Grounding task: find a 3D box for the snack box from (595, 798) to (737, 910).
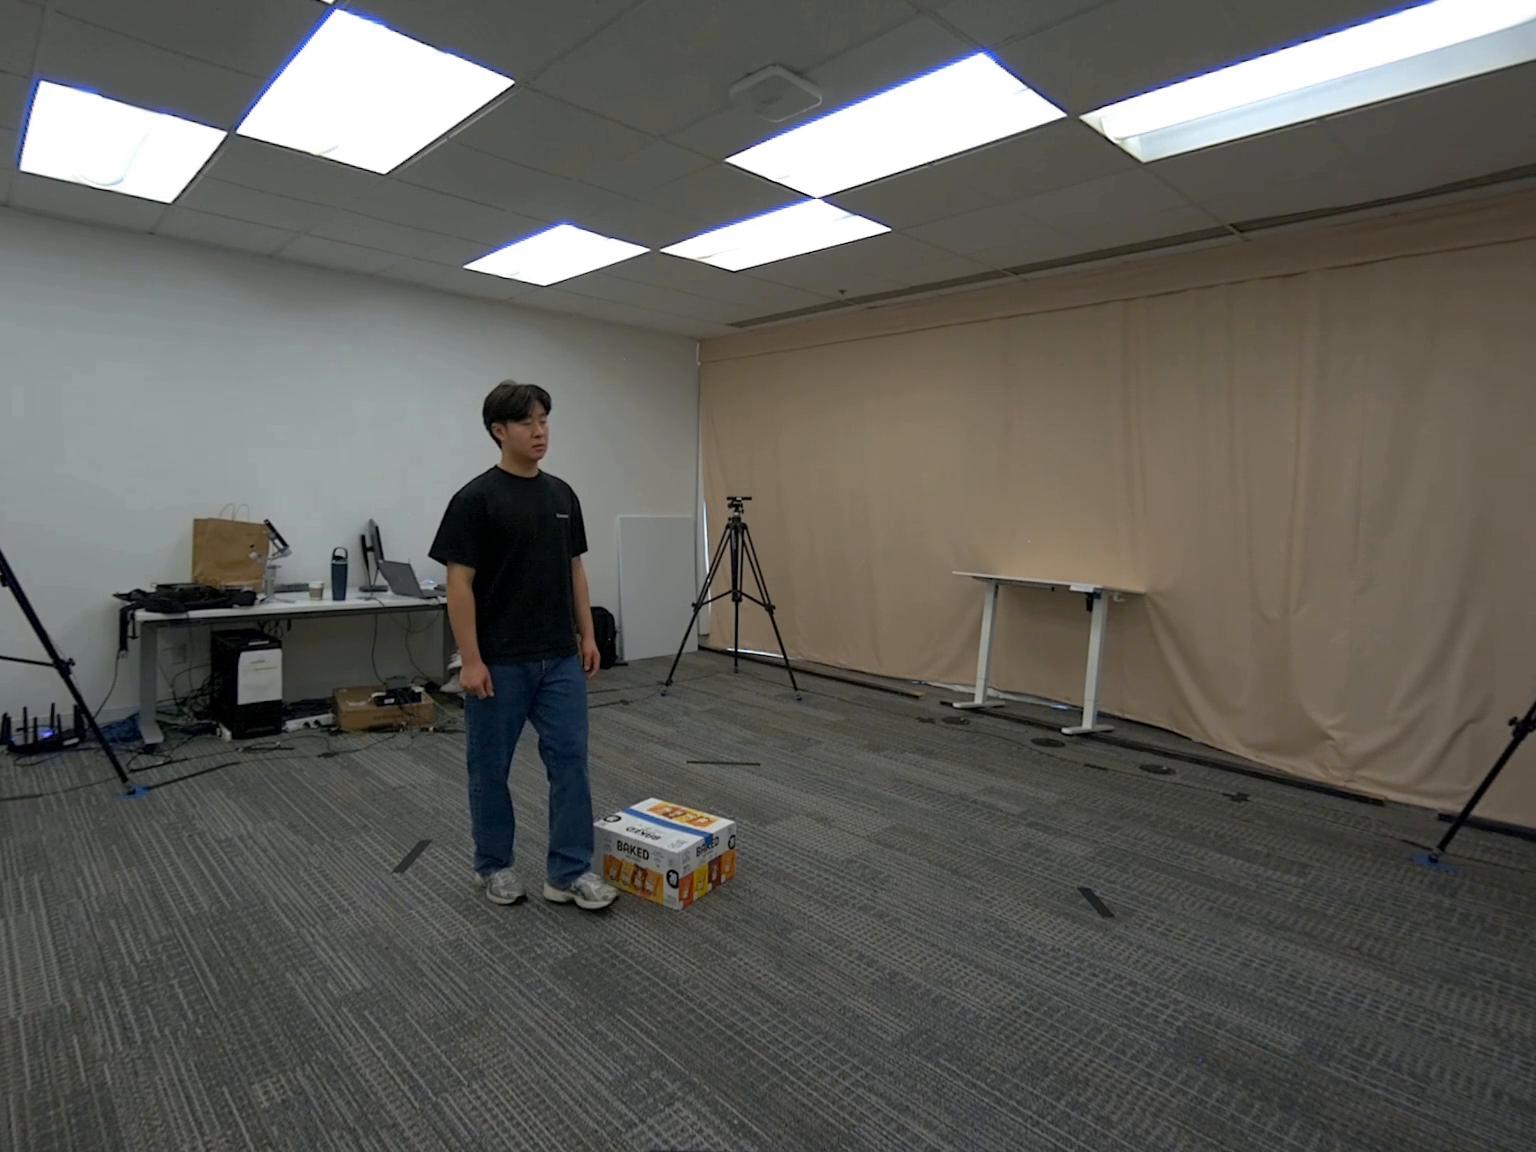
[{"bbox_3d":[-0.386,1.004,3.071,0.415,0.205,0.333,5,6,33],"label":"snack box"}]
